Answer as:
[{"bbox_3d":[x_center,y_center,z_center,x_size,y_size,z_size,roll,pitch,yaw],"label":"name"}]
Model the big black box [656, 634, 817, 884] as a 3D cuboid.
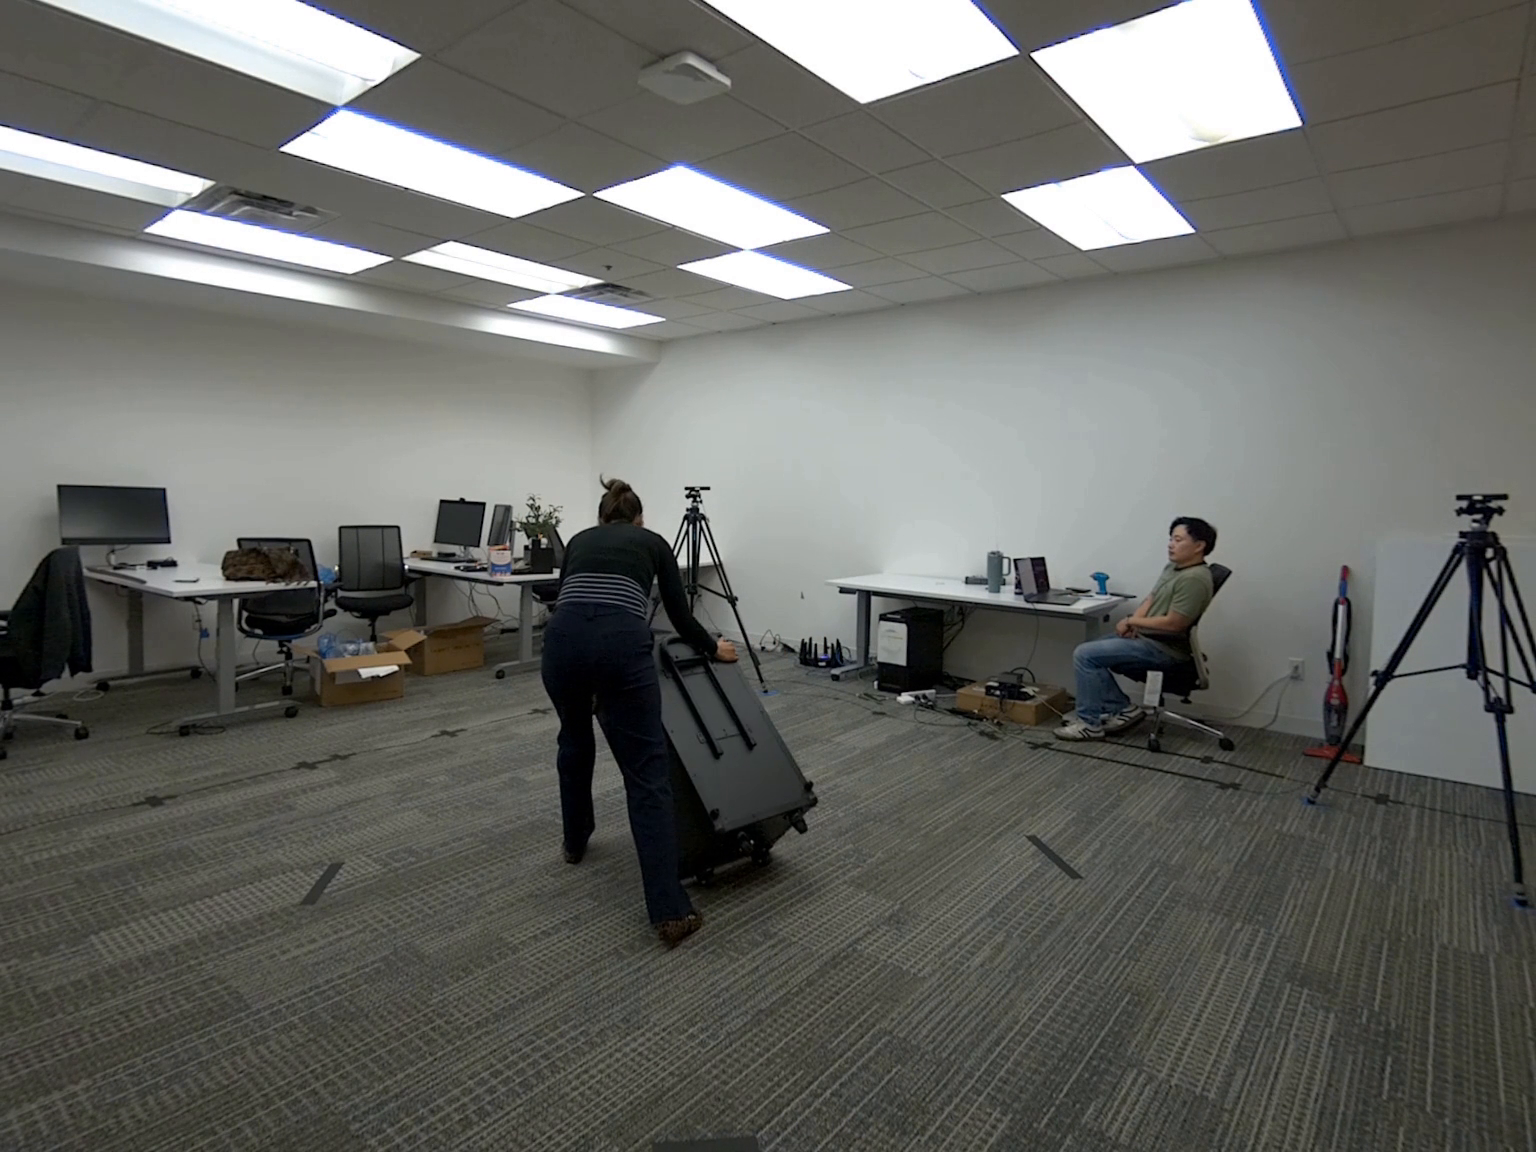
[{"bbox_3d":[-0.289,0.637,3.239,0.506,0.393,0.893,-5,49,-41],"label":"big black box"}]
